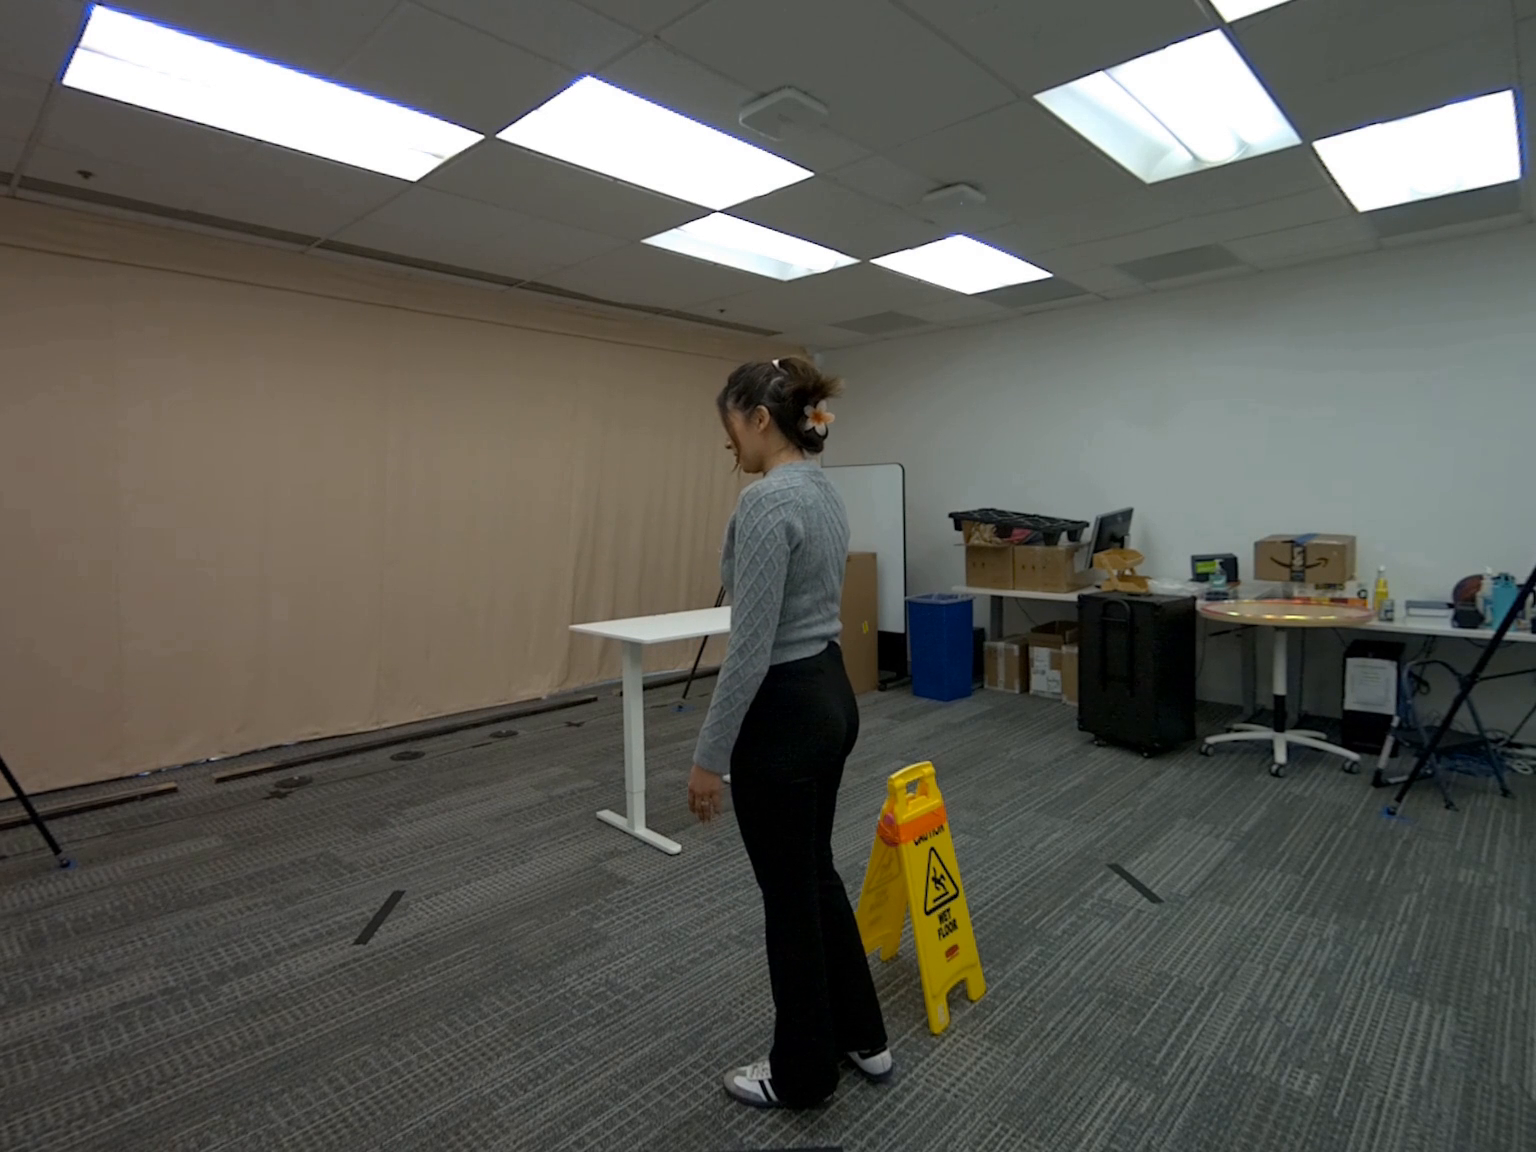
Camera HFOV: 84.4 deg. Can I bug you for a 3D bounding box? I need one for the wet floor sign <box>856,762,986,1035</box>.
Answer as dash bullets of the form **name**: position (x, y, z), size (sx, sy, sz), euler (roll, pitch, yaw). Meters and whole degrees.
- **wet floor sign**: position (0.412, 0.865, 2.384), size (0.299, 0.645, 0.273), euler (2, 4, 44)
